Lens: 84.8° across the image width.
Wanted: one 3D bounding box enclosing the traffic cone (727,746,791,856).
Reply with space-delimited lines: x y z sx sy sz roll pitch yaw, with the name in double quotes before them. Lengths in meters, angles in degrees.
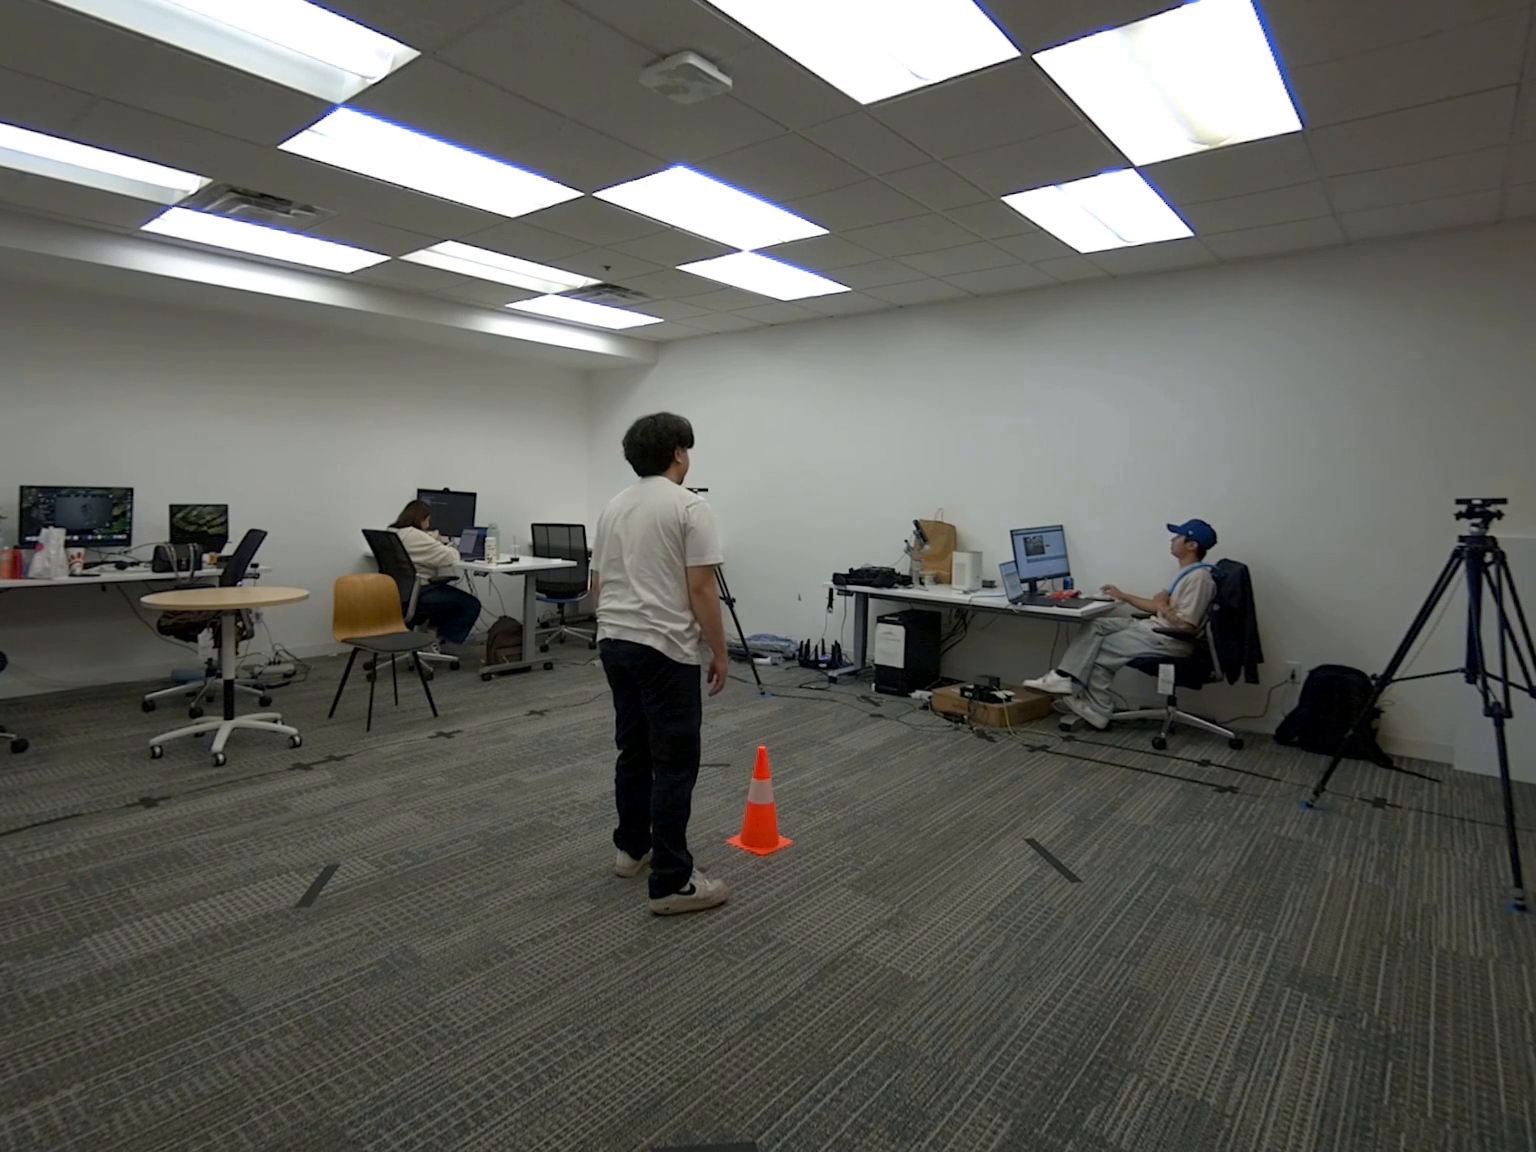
"traffic cone" -0.034 0.860 3.357 0.212 0.382 0.197 5 5 45
